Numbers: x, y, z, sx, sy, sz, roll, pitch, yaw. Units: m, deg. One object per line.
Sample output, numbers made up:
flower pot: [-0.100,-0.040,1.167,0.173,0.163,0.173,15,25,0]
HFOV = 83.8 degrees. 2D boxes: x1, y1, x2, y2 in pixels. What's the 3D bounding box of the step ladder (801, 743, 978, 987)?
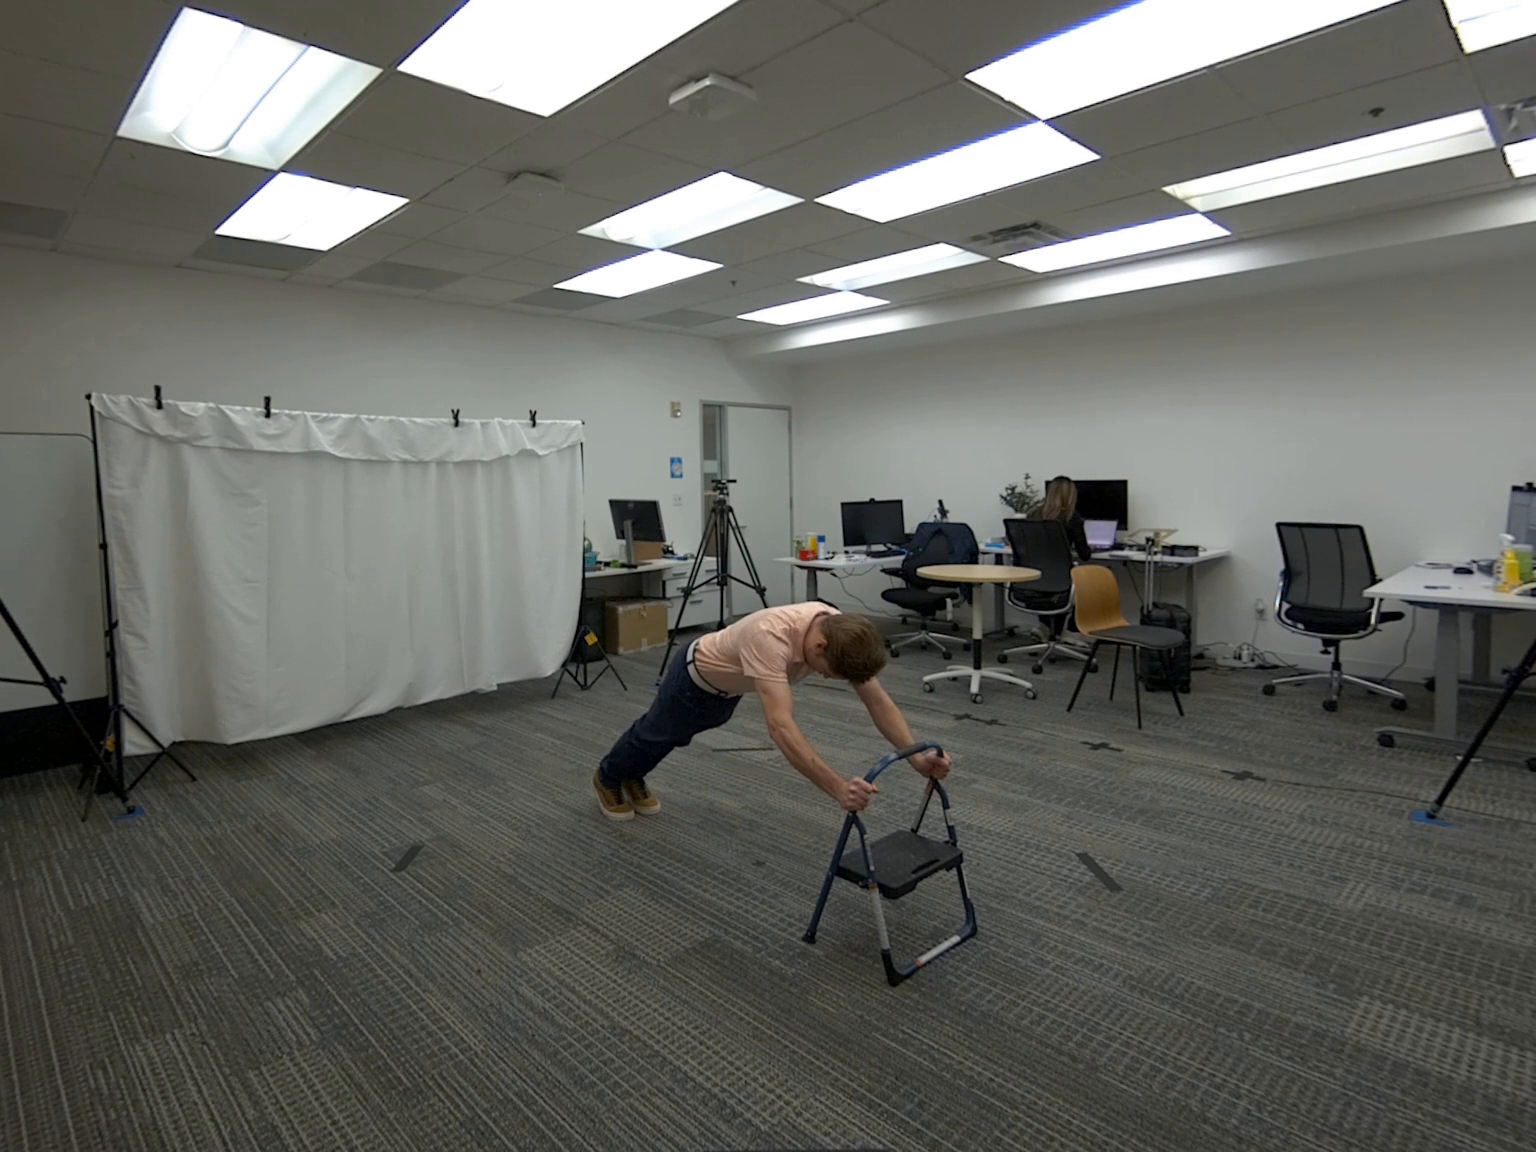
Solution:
step ladder: [0.373,0.800,2.583,0.419,0.604,0.360,-6,6,-43]
